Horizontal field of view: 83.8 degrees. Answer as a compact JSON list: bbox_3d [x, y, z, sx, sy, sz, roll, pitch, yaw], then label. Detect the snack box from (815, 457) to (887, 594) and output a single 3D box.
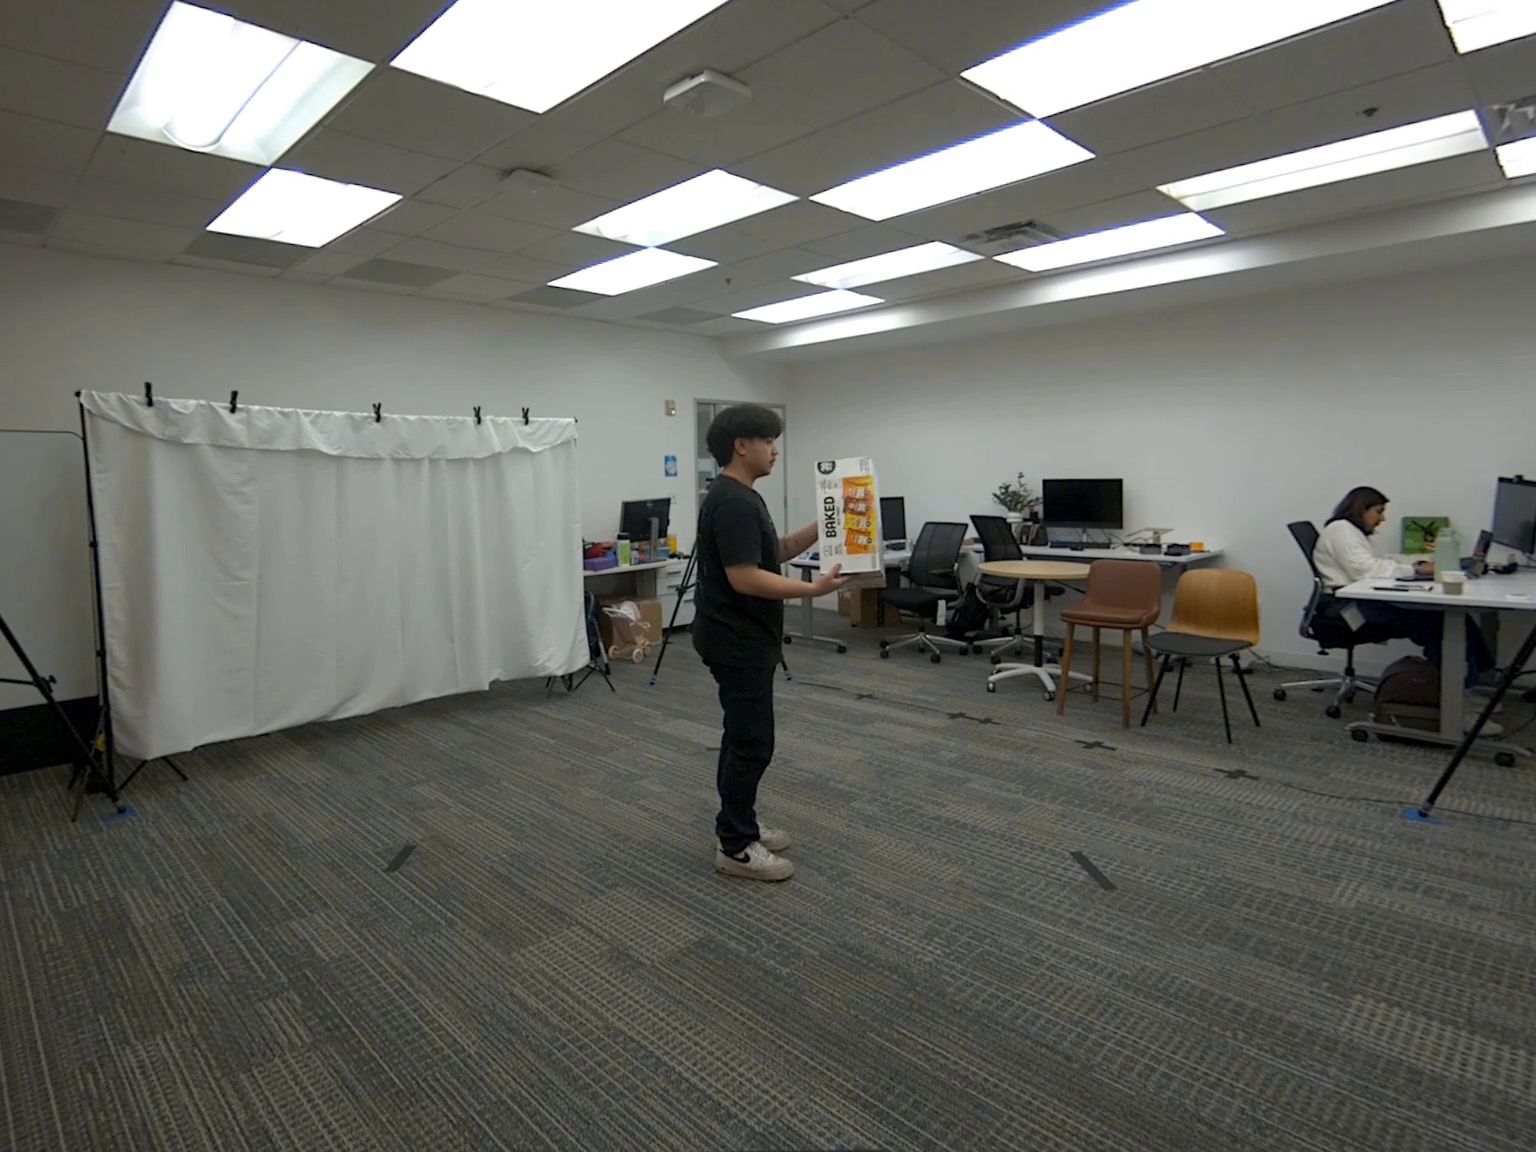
[{"bbox_3d":[0.291,-0.182,3.095,0.208,0.410,0.332,-4,-12,11],"label":"snack box"}]
